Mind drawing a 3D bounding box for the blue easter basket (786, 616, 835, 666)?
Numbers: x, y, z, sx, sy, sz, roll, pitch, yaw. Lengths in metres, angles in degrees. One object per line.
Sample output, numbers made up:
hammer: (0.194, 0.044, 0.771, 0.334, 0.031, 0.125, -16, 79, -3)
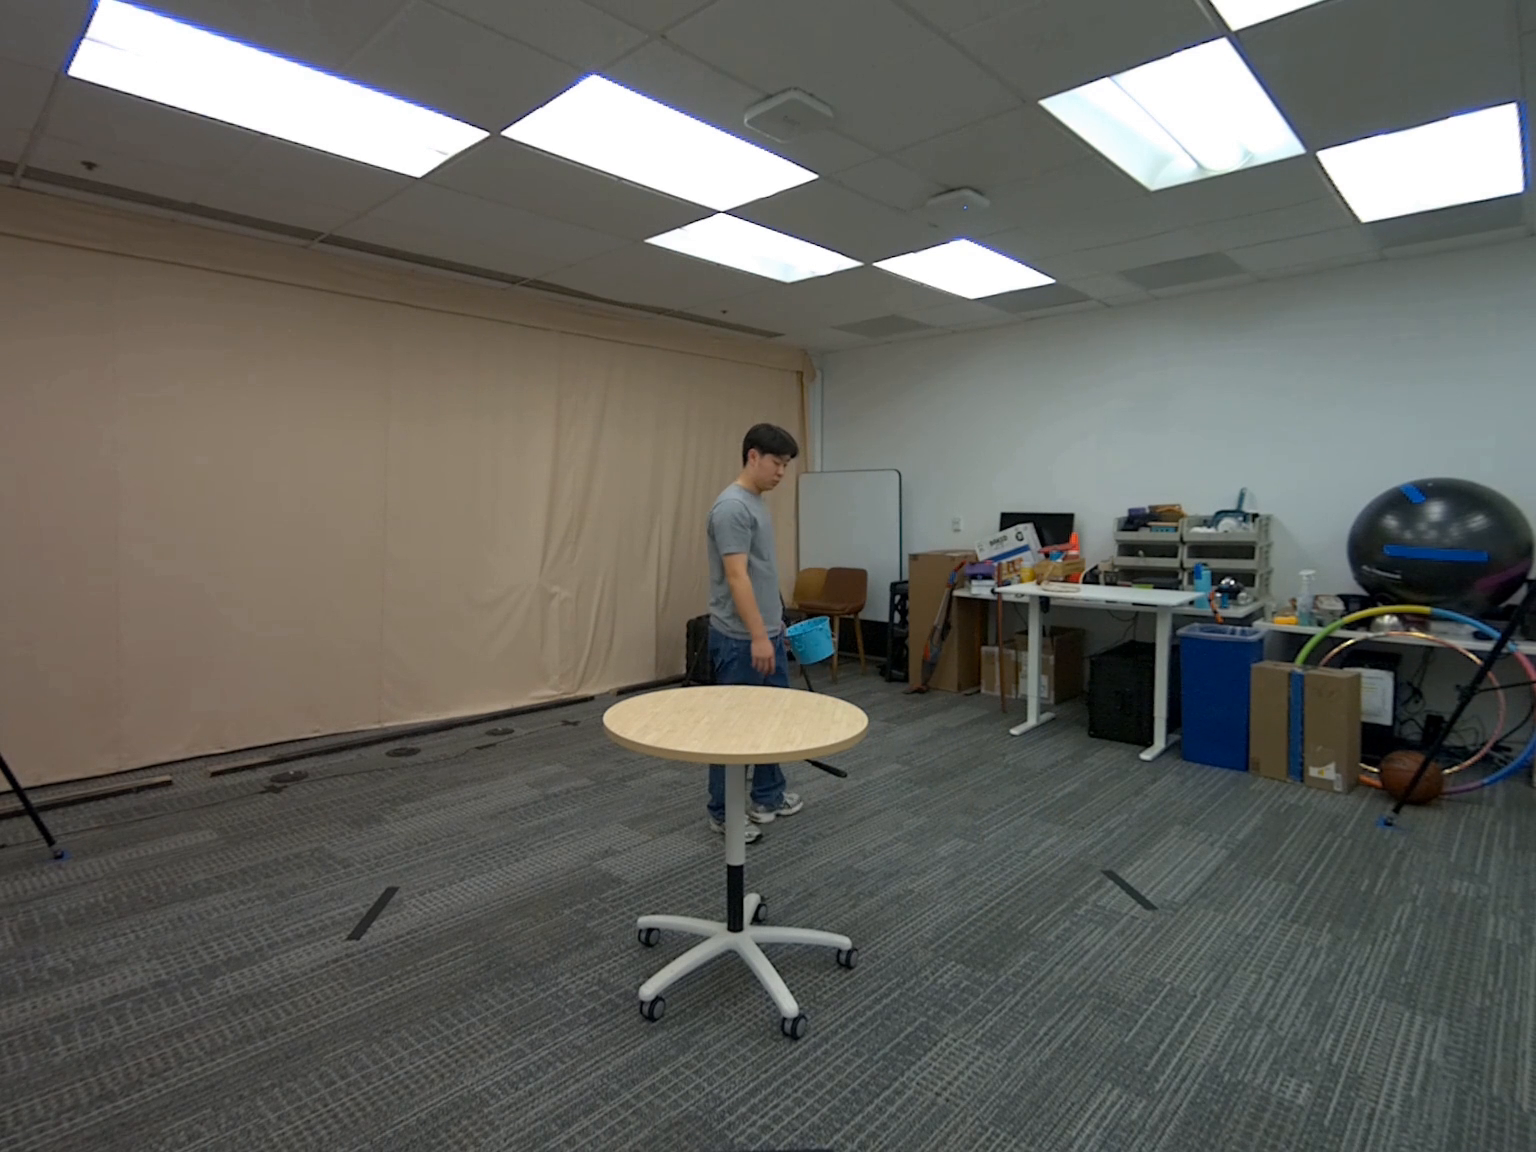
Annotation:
blue easter basket: (0.198, 0.302, 3.902, 0.244, 0.155, 0.245, -20, 7, 0)
